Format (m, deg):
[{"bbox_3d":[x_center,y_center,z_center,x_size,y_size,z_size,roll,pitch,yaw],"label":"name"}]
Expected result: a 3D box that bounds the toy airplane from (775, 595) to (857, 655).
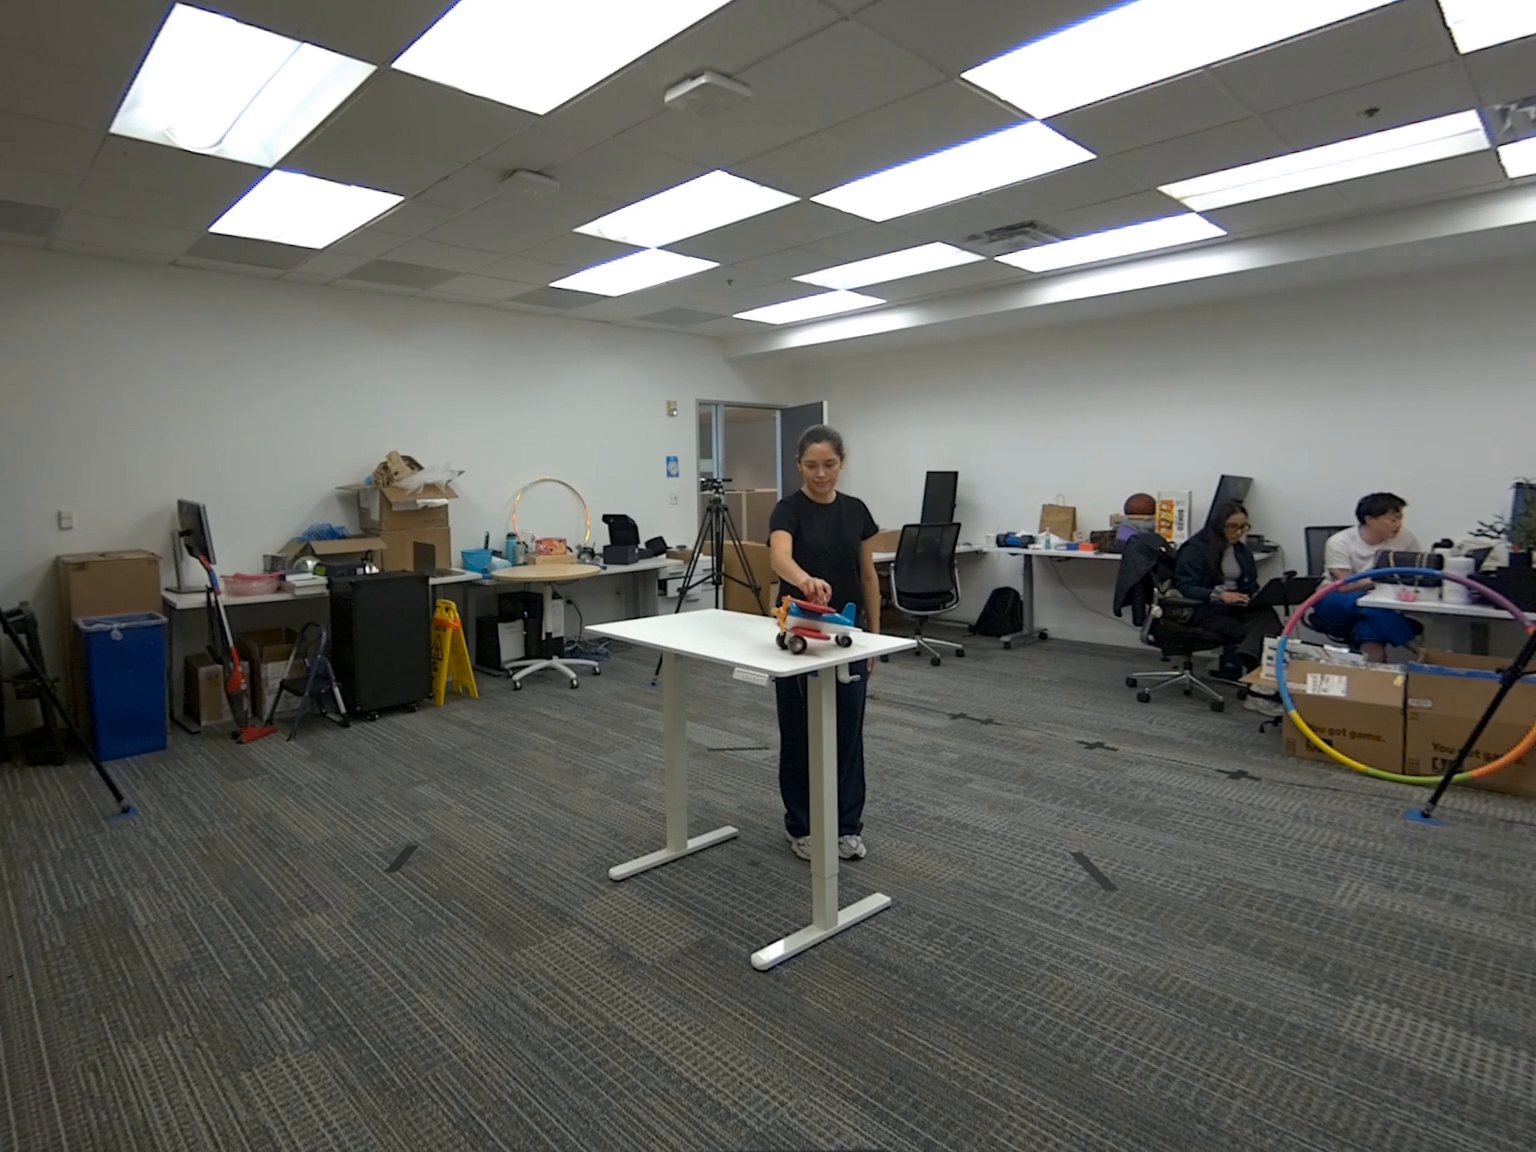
[{"bbox_3d":[0.139,0.143,2.586,0.259,0.156,0.253,3,8,39],"label":"toy airplane"}]
